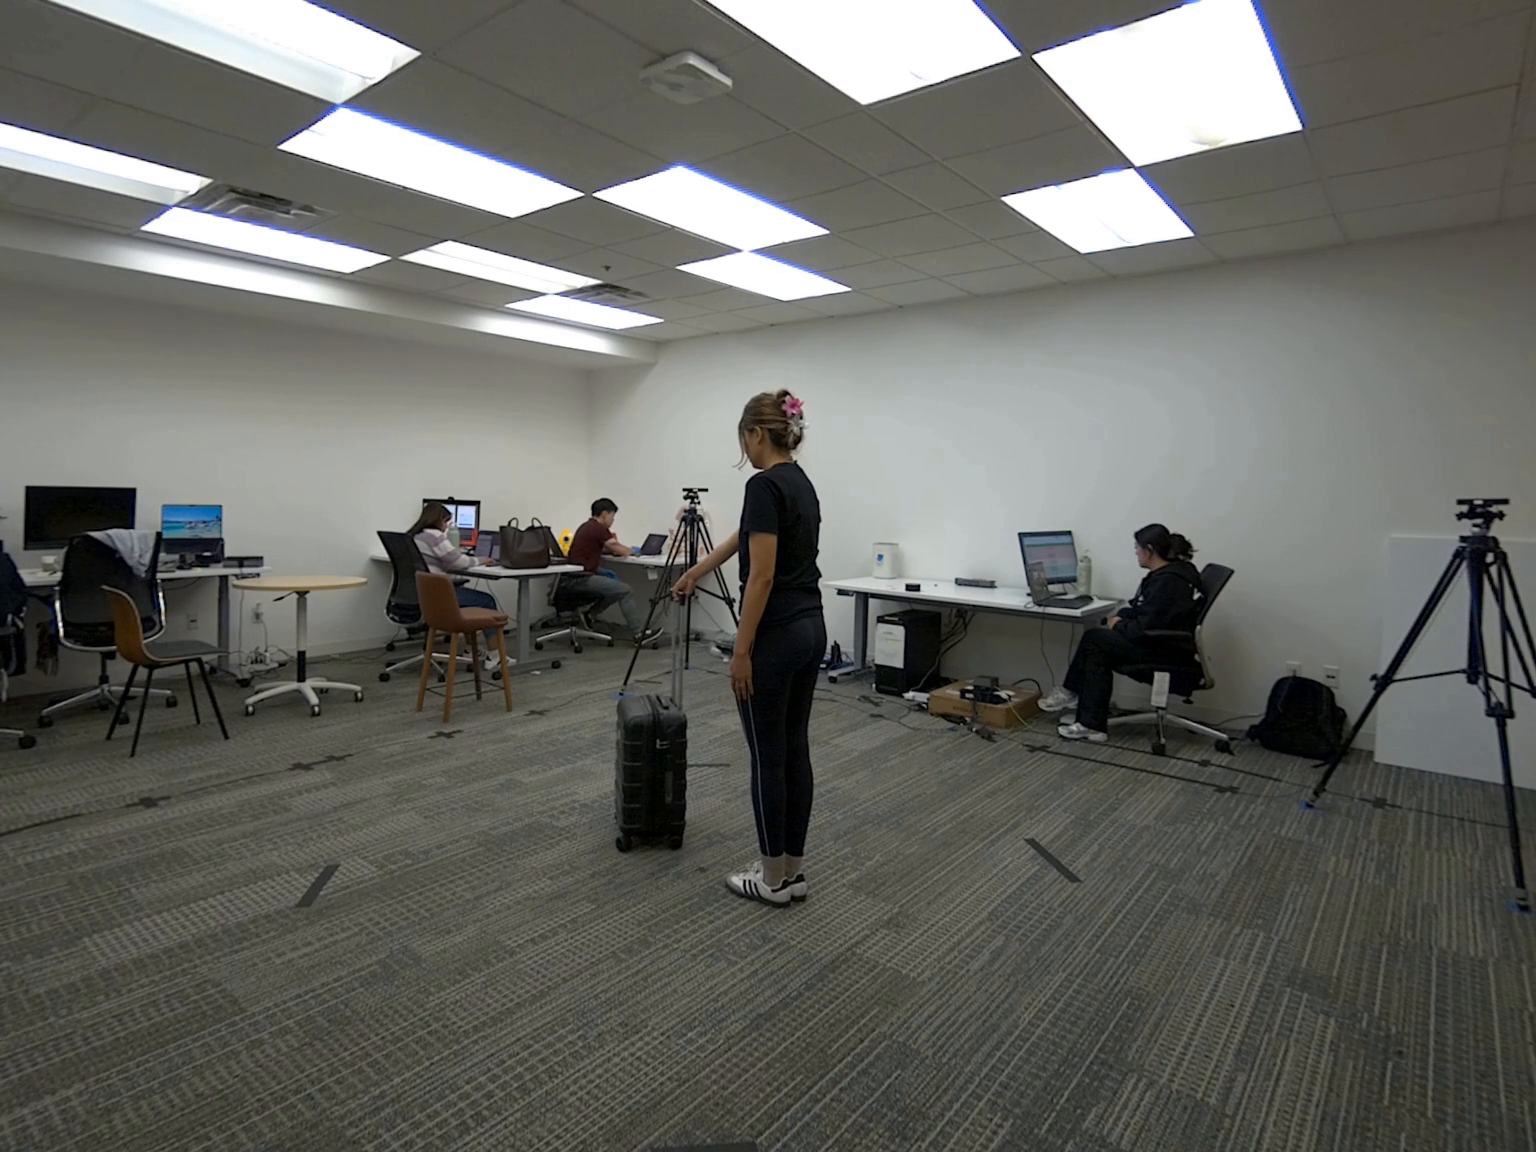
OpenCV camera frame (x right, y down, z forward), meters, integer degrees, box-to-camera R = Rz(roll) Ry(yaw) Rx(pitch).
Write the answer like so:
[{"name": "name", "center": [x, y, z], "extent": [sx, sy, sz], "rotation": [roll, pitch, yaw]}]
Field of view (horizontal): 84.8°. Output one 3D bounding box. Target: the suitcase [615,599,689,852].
[{"name": "suitcase", "center": [-0.480, 0.562, 3.389], "extent": [0.254, 0.975, 0.390], "rotation": [-1, 3, -13]}]
